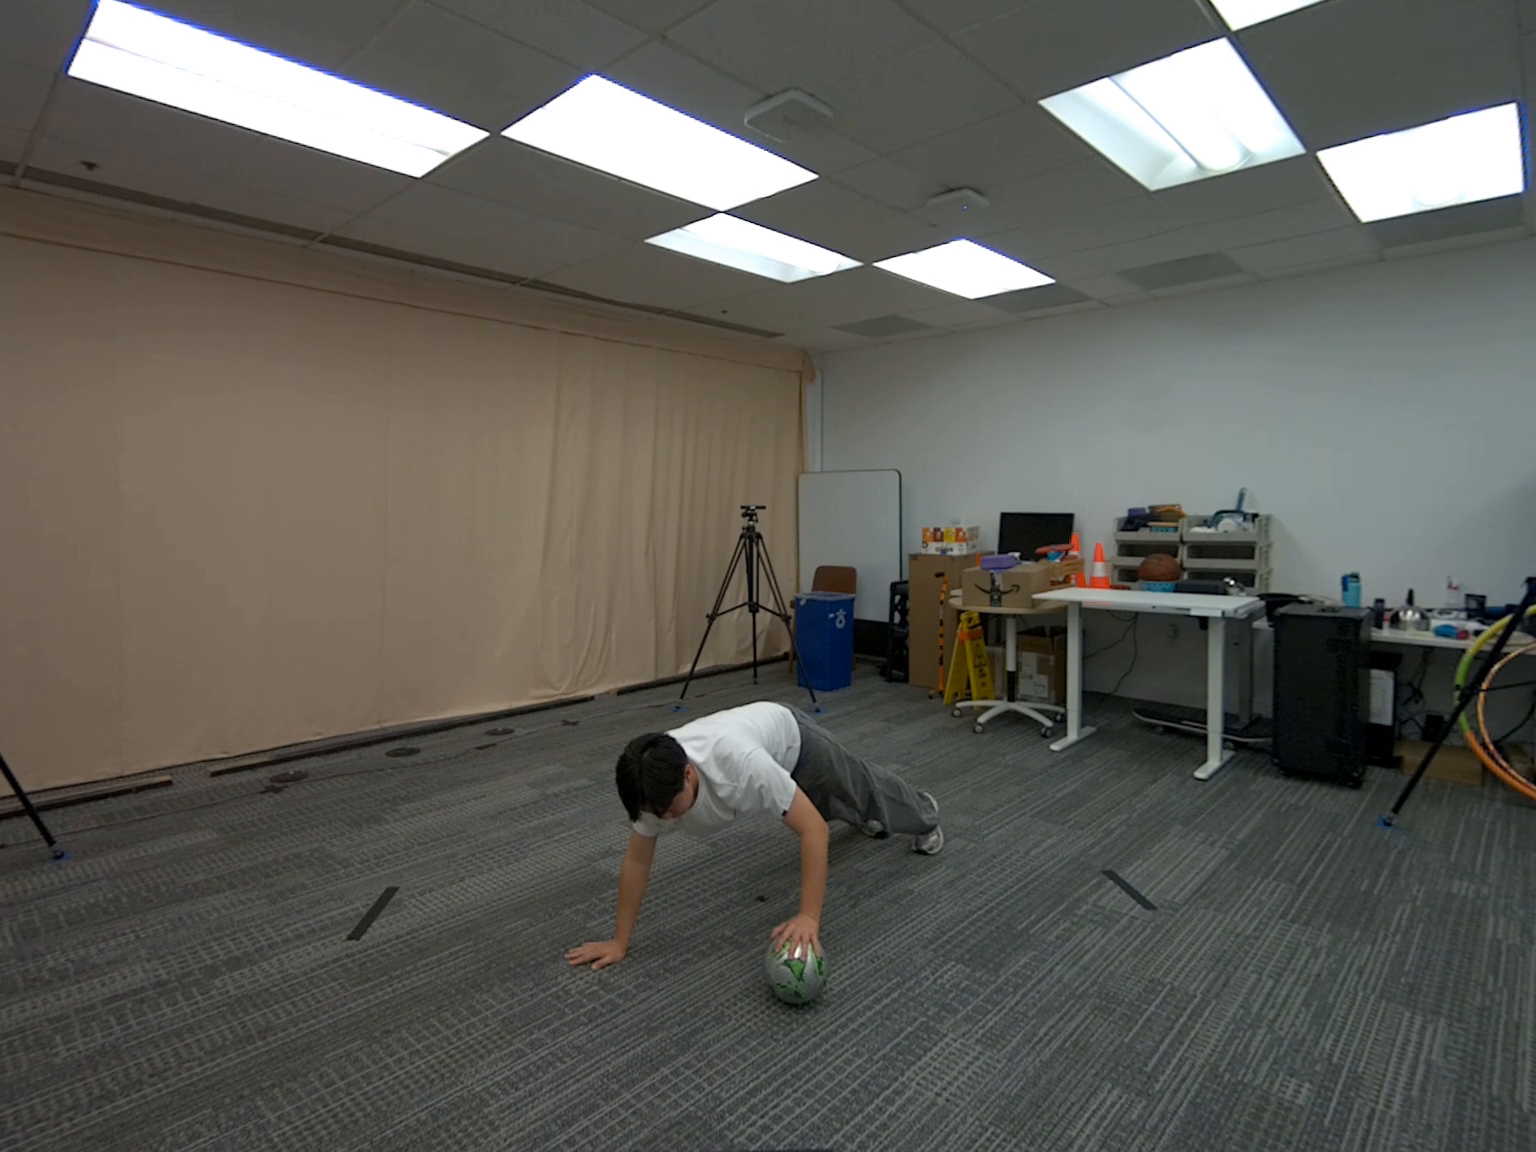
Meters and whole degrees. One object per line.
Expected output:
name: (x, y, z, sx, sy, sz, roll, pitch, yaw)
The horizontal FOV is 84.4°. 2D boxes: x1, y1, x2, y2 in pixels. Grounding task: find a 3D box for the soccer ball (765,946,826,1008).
soccer ball: (0.078, 1.100, 2.380, 0.187, 0.187, 0.188, 0, 4, -2)
